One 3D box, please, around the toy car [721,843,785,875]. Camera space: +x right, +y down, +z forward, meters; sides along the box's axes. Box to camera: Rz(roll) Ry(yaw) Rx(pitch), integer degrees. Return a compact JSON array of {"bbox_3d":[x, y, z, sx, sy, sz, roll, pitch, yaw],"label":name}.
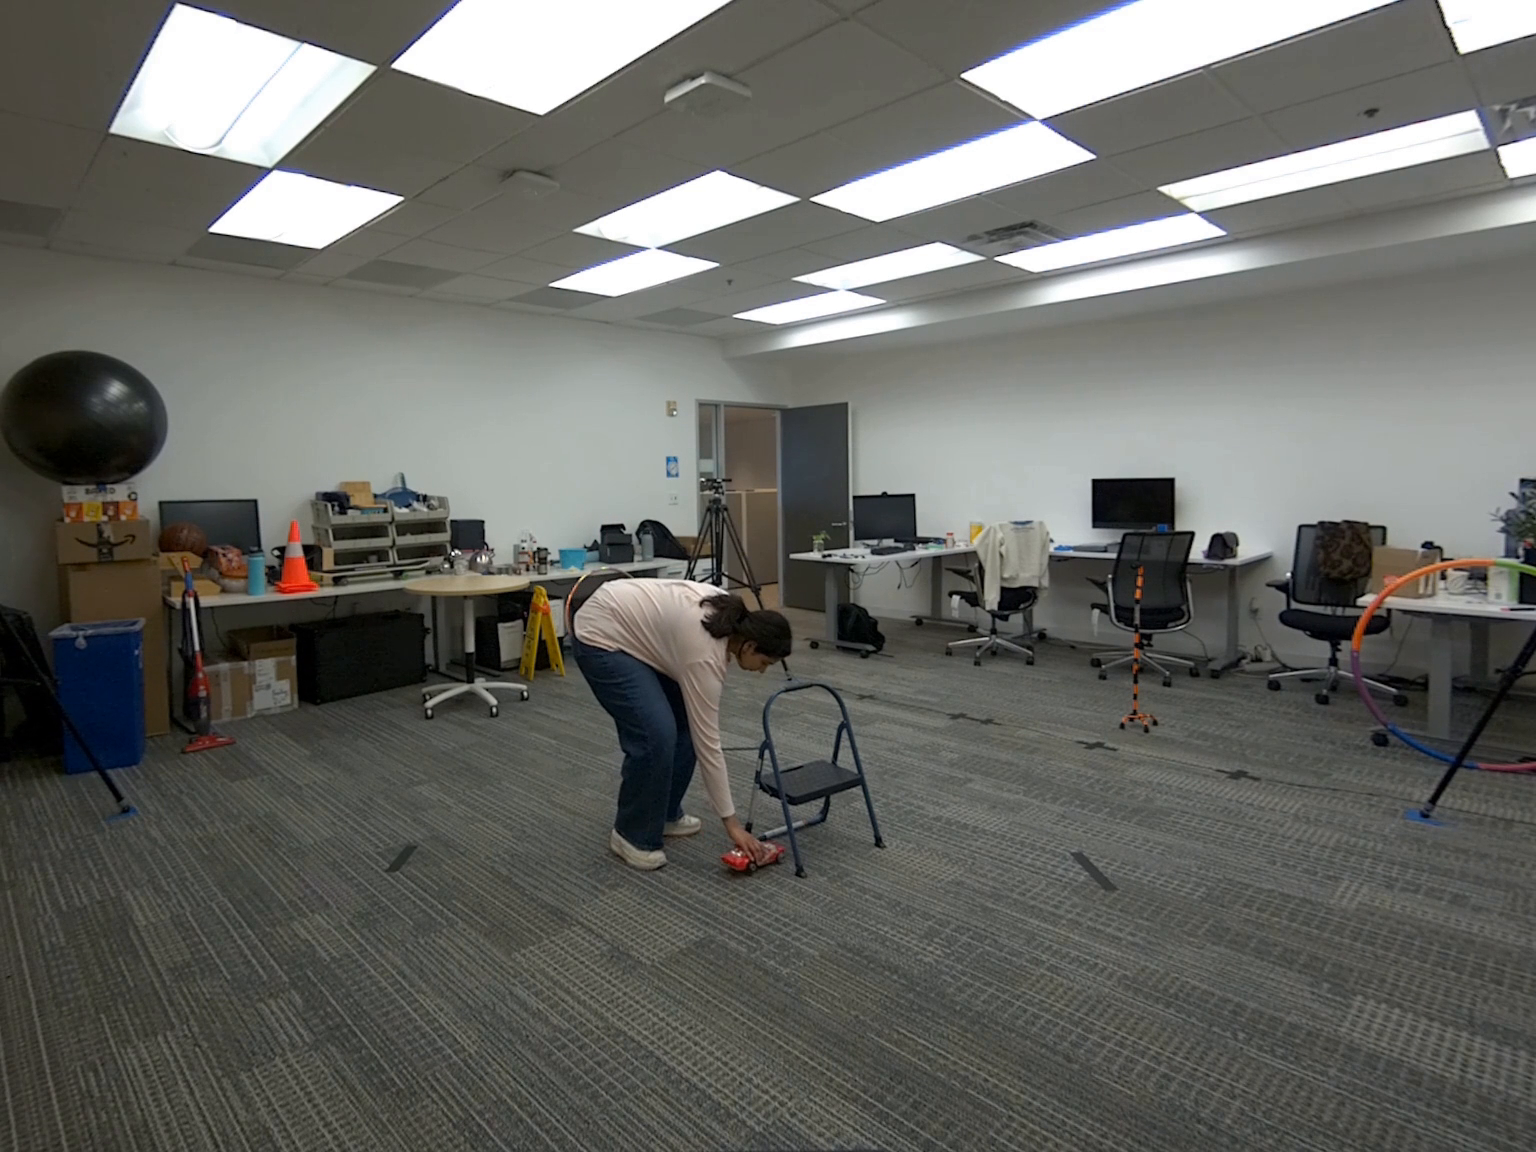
[{"bbox_3d":[-0.054,1.008,3.066,0.246,0.083,0.134,11,-6,-37],"label":"toy car"}]
